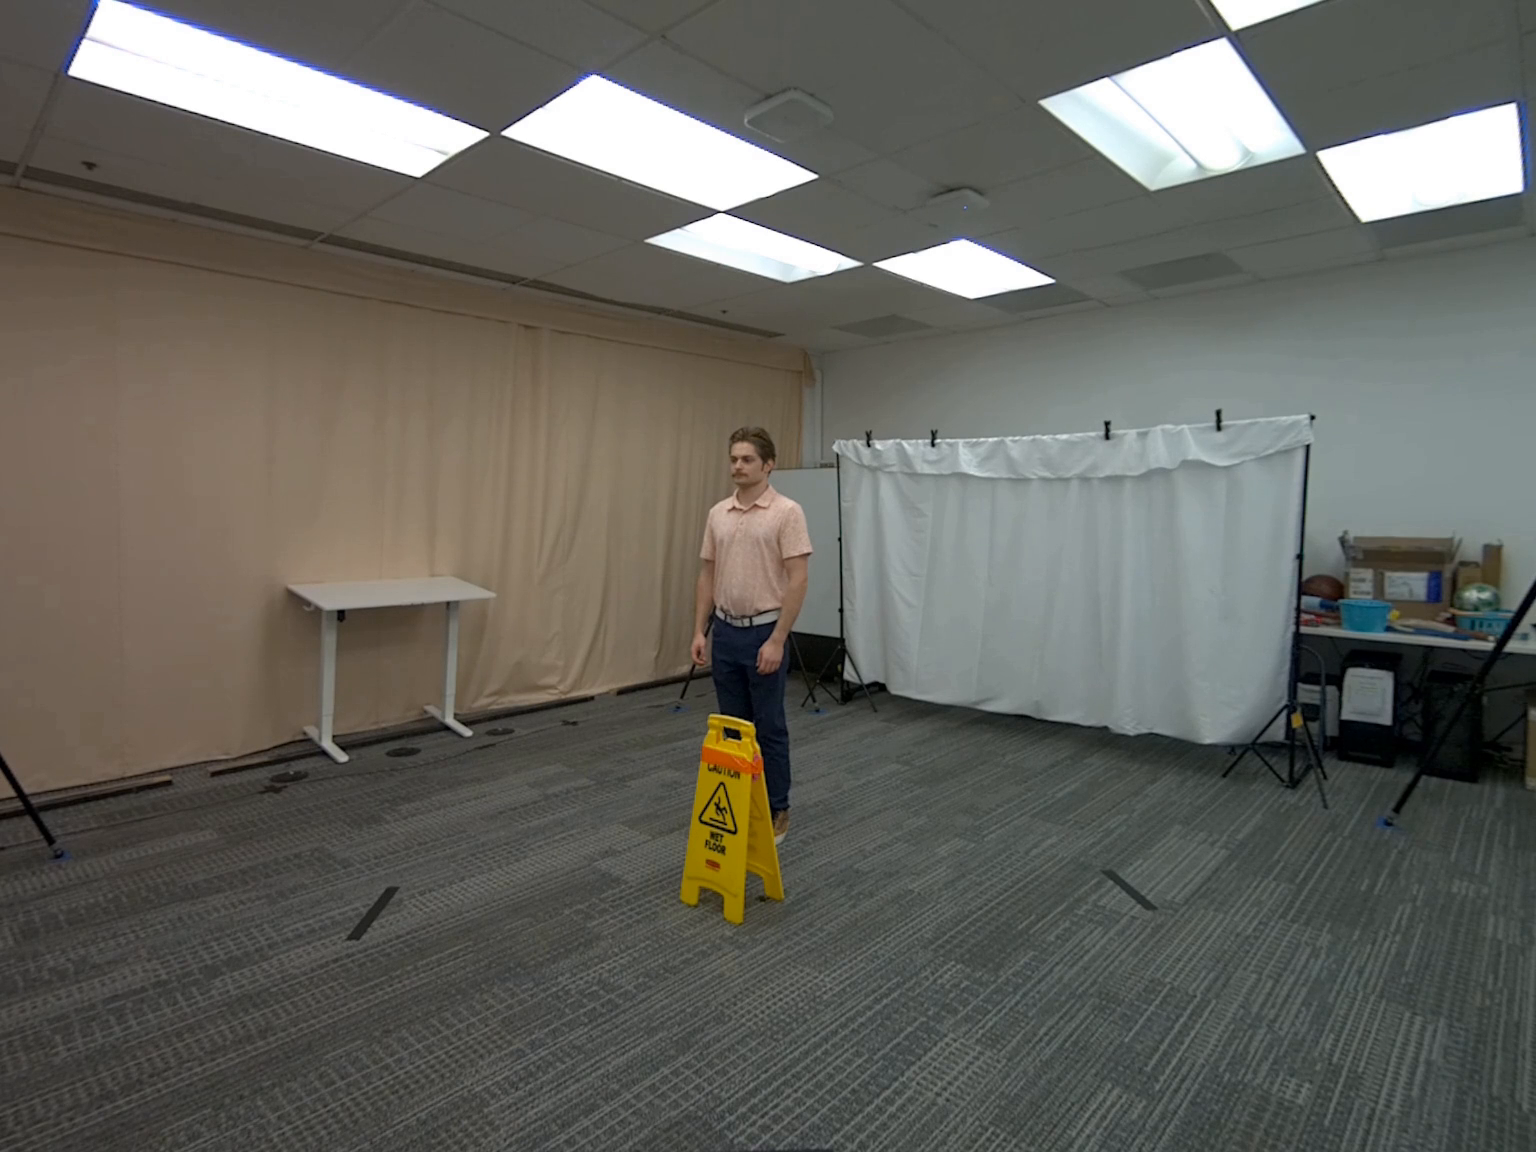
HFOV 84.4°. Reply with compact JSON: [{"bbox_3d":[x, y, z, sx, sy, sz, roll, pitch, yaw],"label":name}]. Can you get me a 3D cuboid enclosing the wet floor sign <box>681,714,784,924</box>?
[{"bbox_3d":[-0.128,0.815,2.954,0.291,0.645,0.281,2,4,40],"label":"wet floor sign"}]
